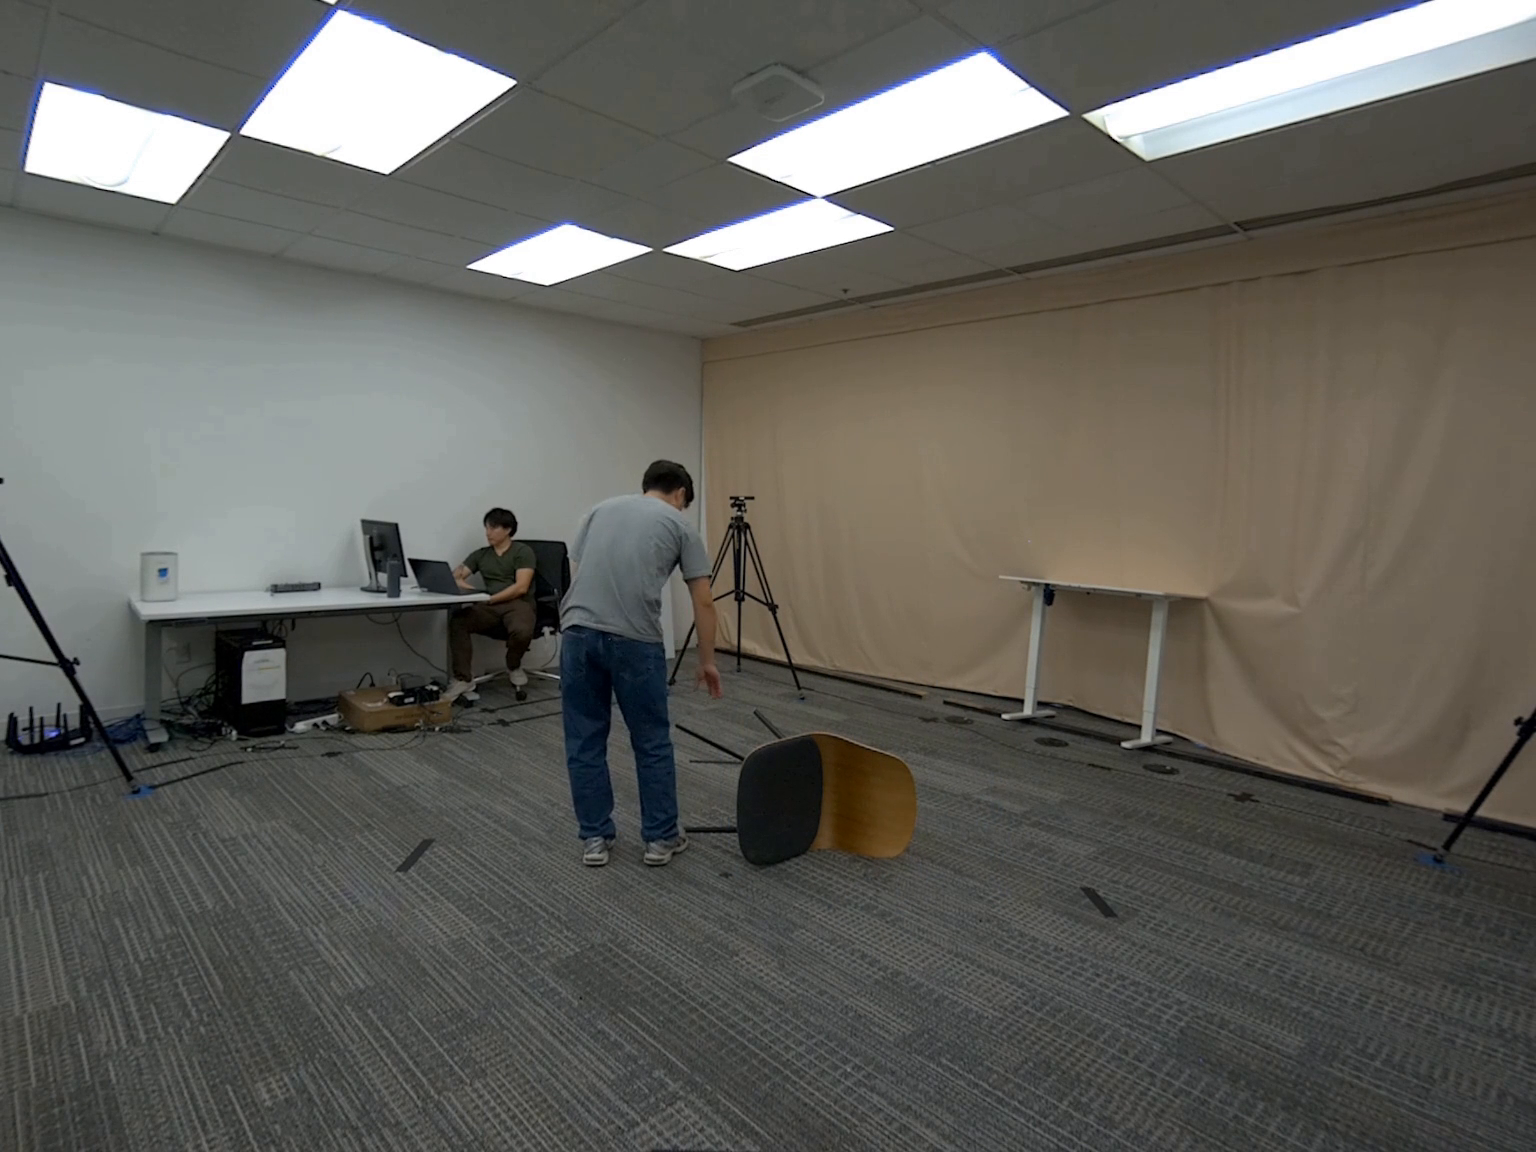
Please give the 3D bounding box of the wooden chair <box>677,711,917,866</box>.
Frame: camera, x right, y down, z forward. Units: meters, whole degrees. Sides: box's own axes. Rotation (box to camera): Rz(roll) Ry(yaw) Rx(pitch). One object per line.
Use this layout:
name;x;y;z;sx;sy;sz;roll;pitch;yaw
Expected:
wooden chair;0.058;0.858;3.309;0.899;0.477;0.511;4;5;43
